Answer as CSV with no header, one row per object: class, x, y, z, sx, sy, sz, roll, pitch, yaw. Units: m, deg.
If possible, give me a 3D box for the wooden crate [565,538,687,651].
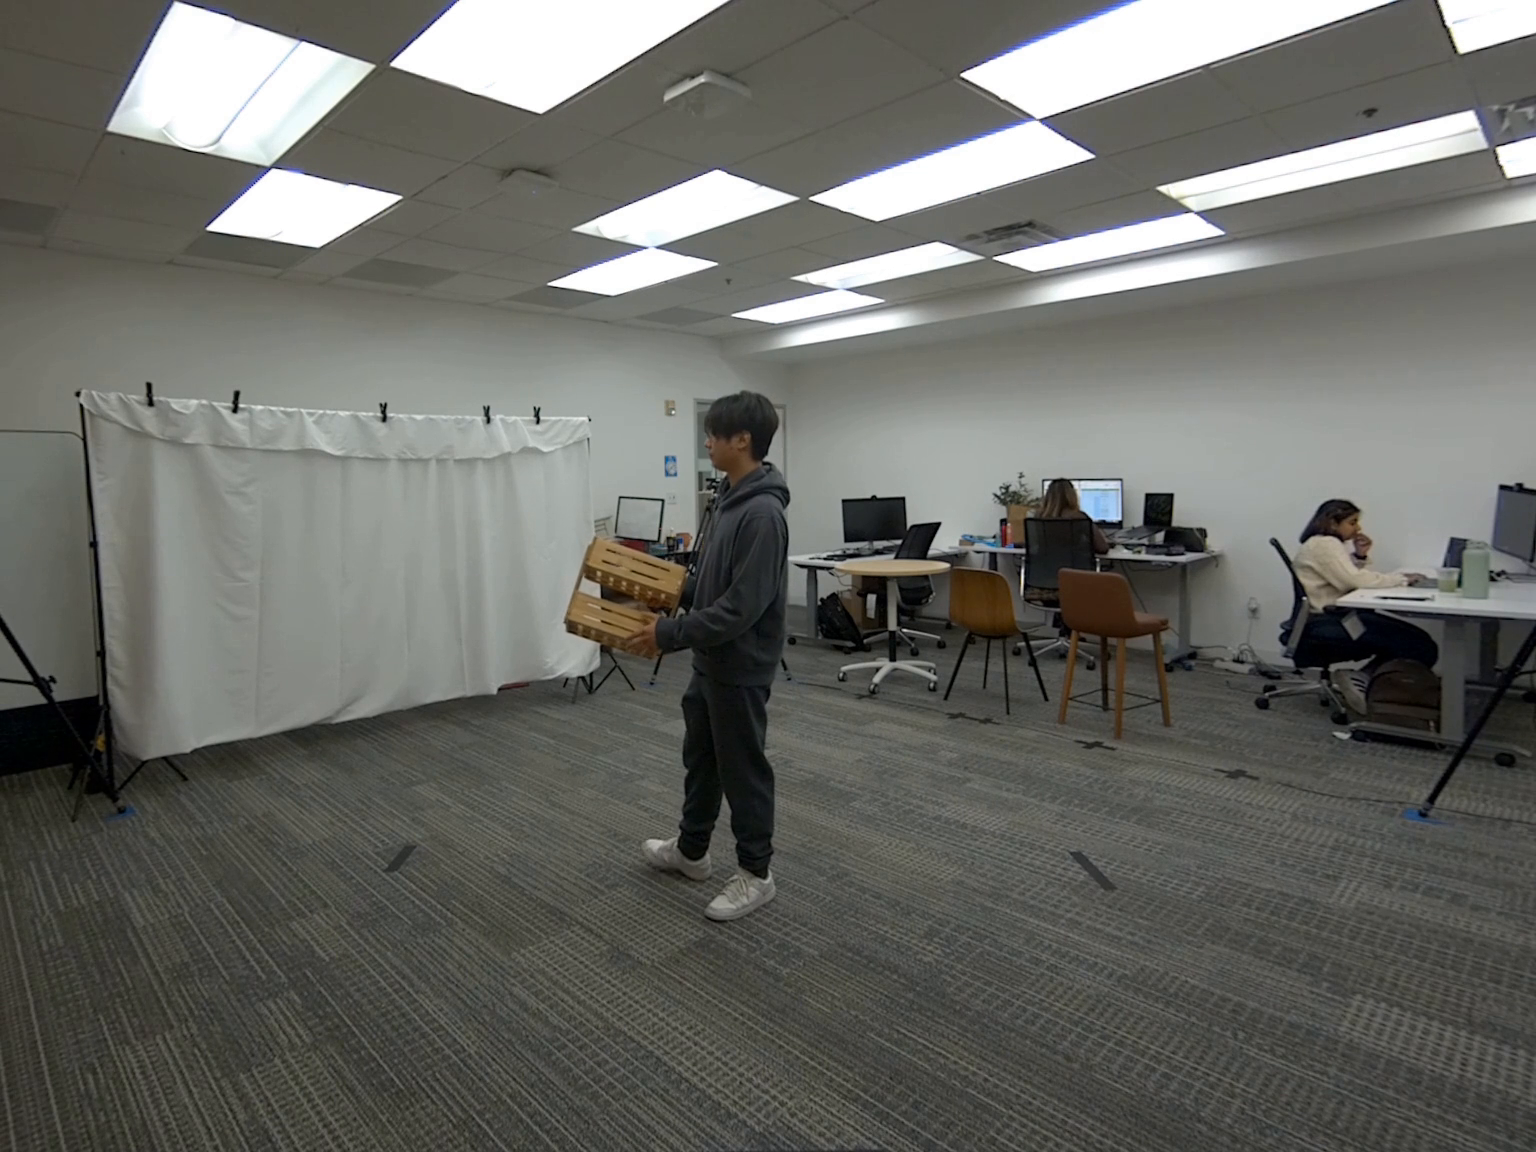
wooden crate,-0.450,0.078,2.740,0.323,0.276,0.300,19,-20,-4
